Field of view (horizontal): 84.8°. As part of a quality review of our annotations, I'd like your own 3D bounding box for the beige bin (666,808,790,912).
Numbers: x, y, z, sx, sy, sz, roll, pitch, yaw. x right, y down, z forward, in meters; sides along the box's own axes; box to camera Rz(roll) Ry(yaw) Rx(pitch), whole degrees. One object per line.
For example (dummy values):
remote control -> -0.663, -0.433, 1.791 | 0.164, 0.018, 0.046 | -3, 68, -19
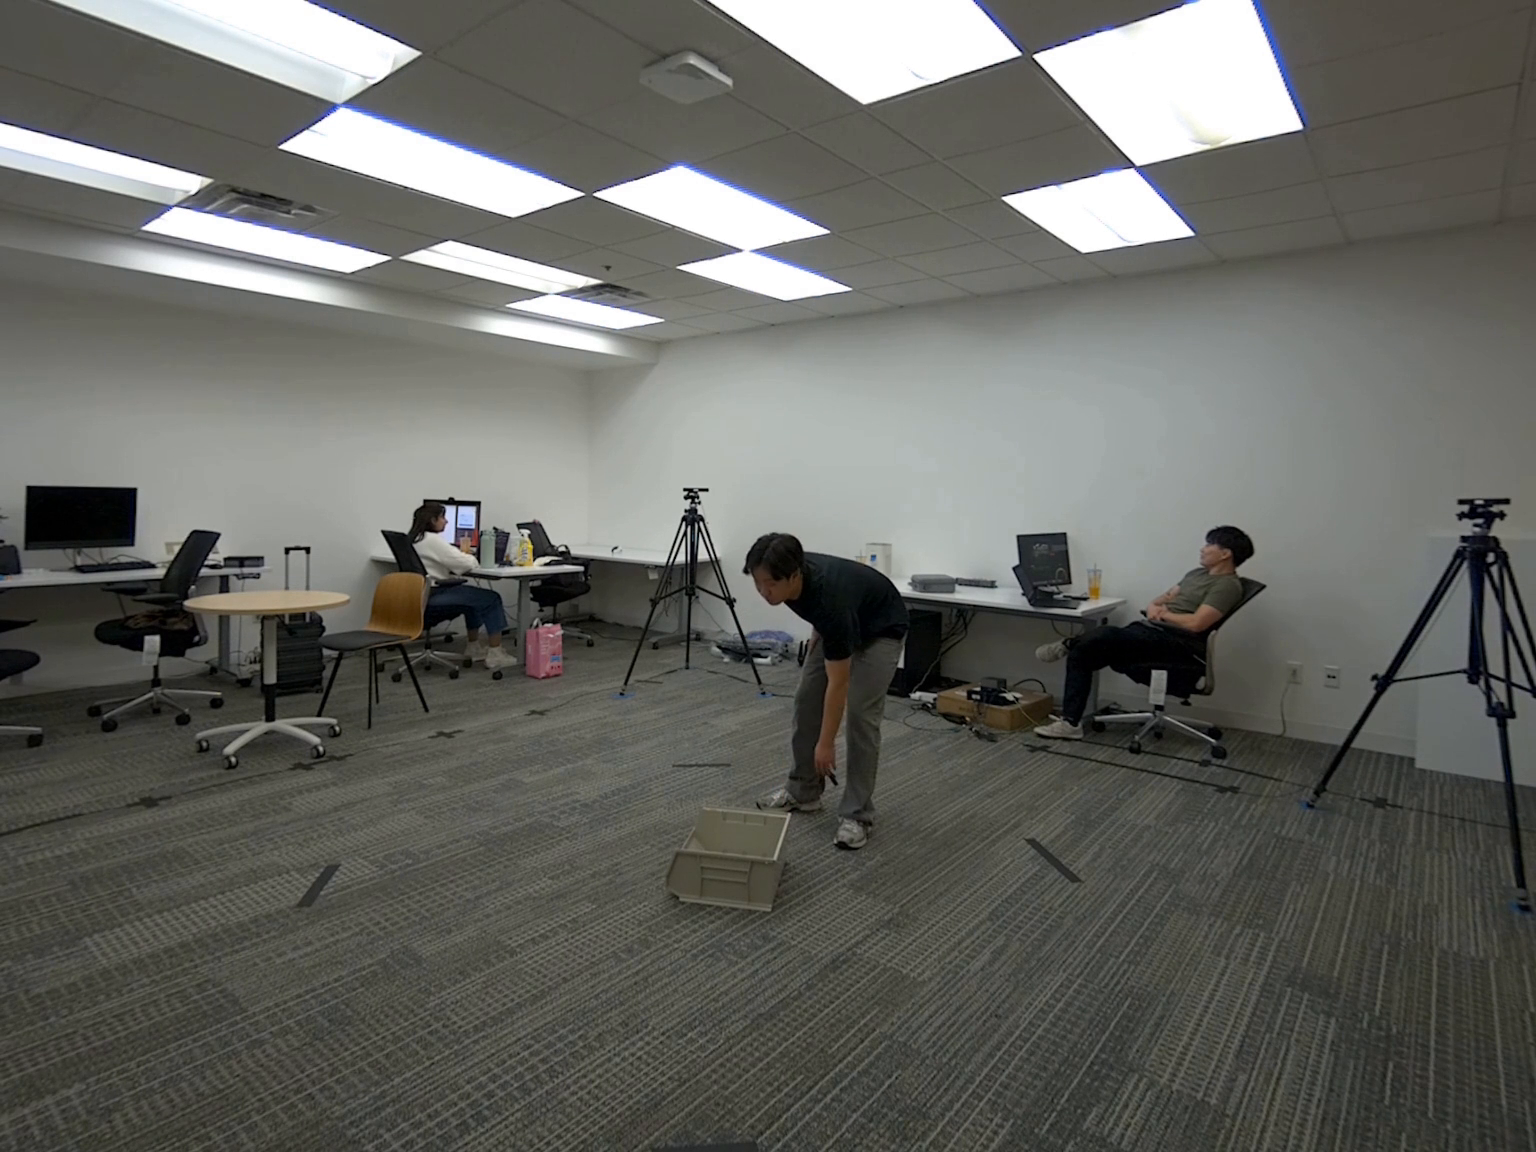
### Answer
beige bin -> -0.140, 0.990, 3.027 | 0.382, 0.188, 0.419 | 3, 5, 9
